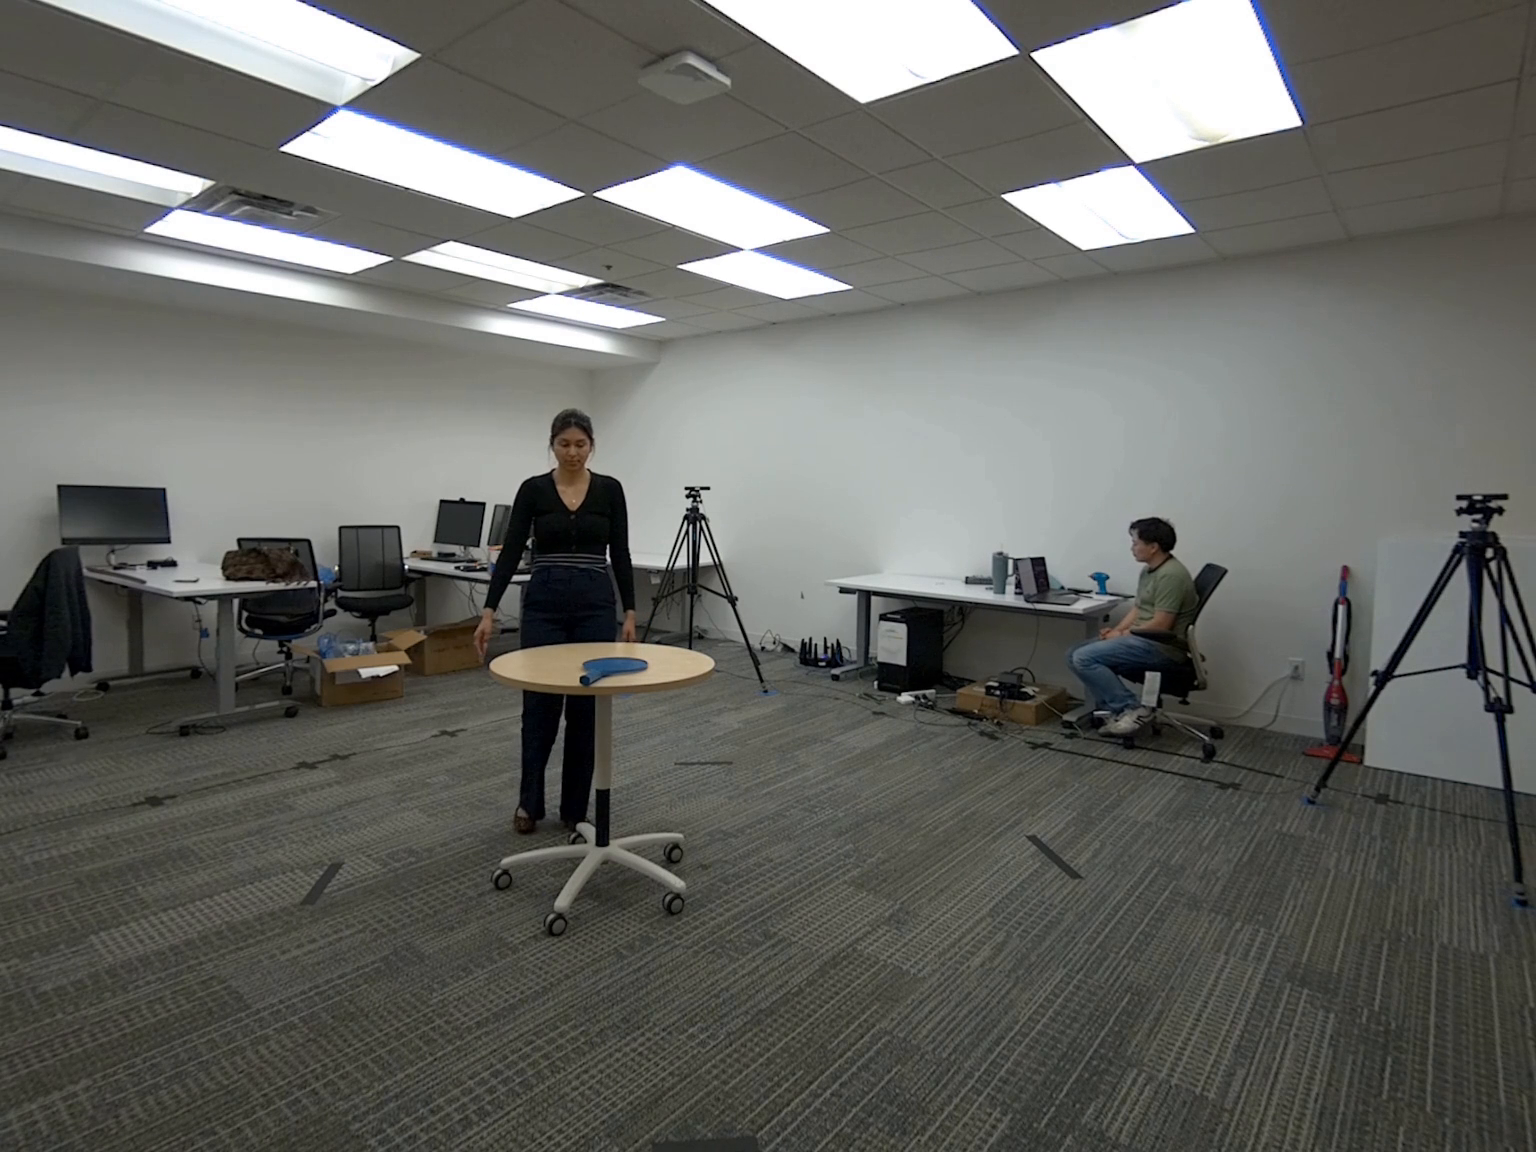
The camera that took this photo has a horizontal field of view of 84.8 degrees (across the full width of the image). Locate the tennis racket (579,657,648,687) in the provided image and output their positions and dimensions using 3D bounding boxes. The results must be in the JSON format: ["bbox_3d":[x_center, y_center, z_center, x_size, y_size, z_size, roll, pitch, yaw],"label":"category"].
[{"bbox_3d":[-0.526,0.301,2.750,0.216,0.032,0.429,1,3,9],"label":"tennis racket"}]
